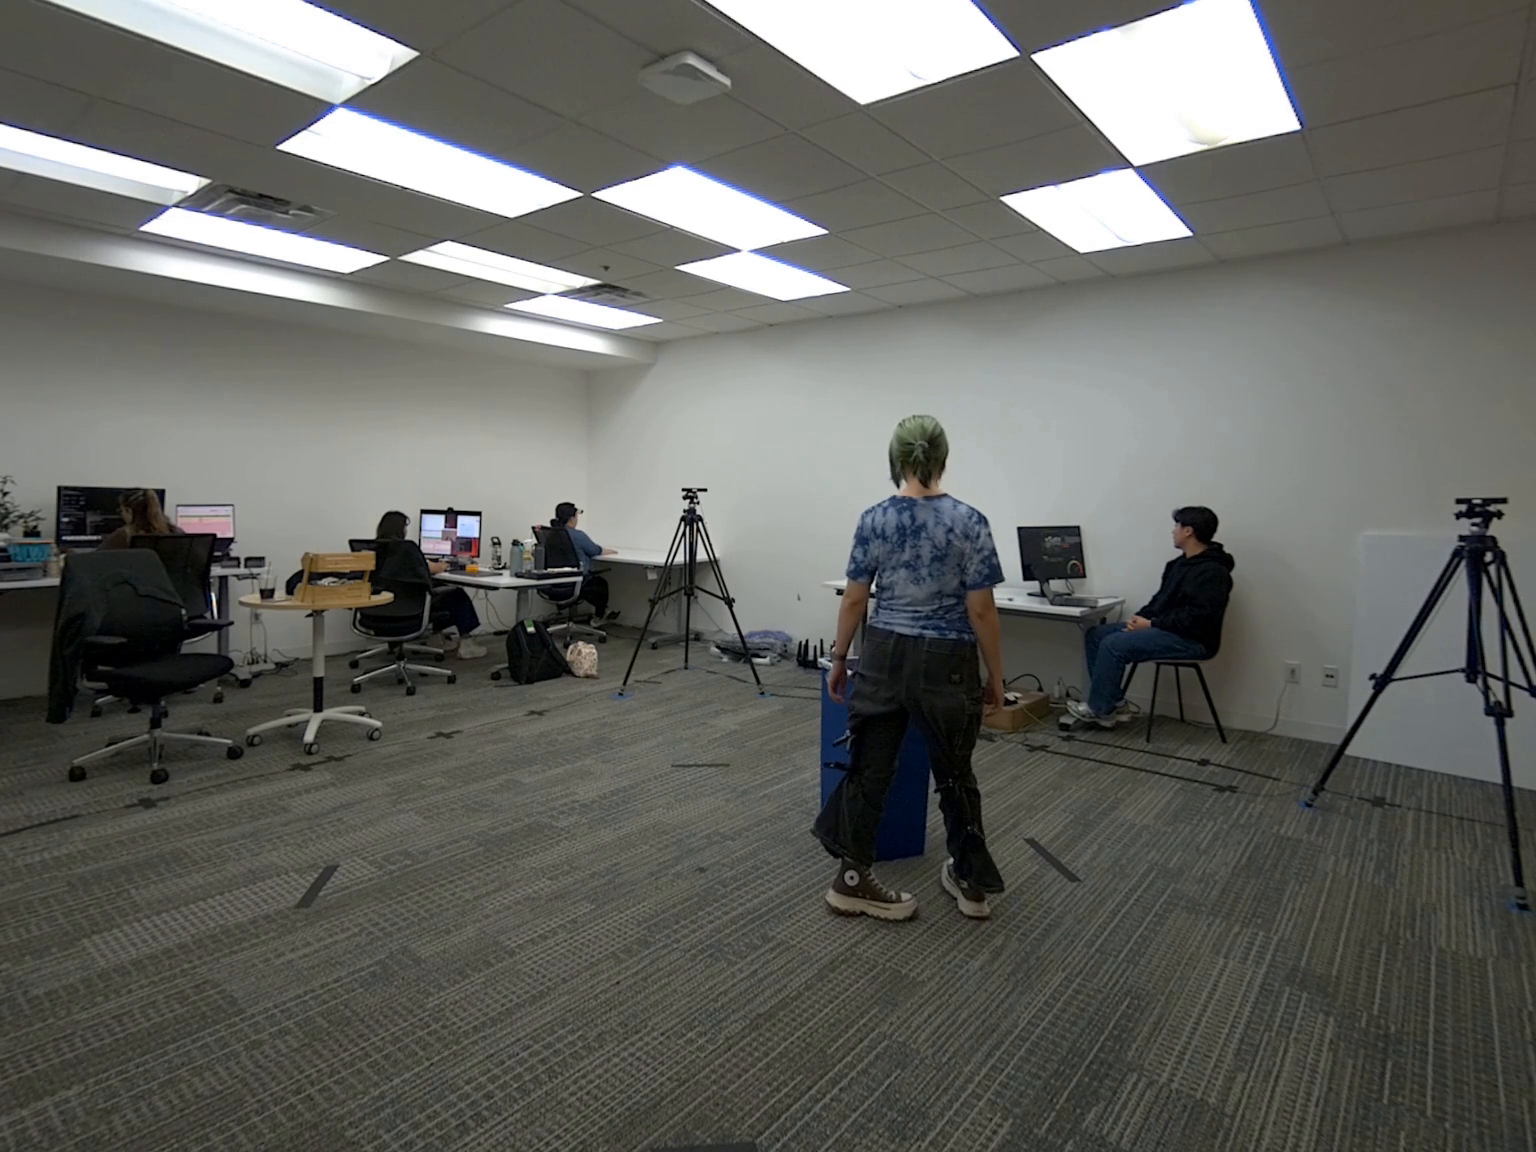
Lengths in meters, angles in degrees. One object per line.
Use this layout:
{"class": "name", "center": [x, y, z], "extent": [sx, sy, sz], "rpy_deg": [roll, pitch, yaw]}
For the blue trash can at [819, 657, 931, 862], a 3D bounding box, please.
{"class": "blue trash can", "center": [0.420, 0.704, 3.349], "extent": [0.366, 0.711, 0.388], "rpy_deg": [0, 4, -23]}
